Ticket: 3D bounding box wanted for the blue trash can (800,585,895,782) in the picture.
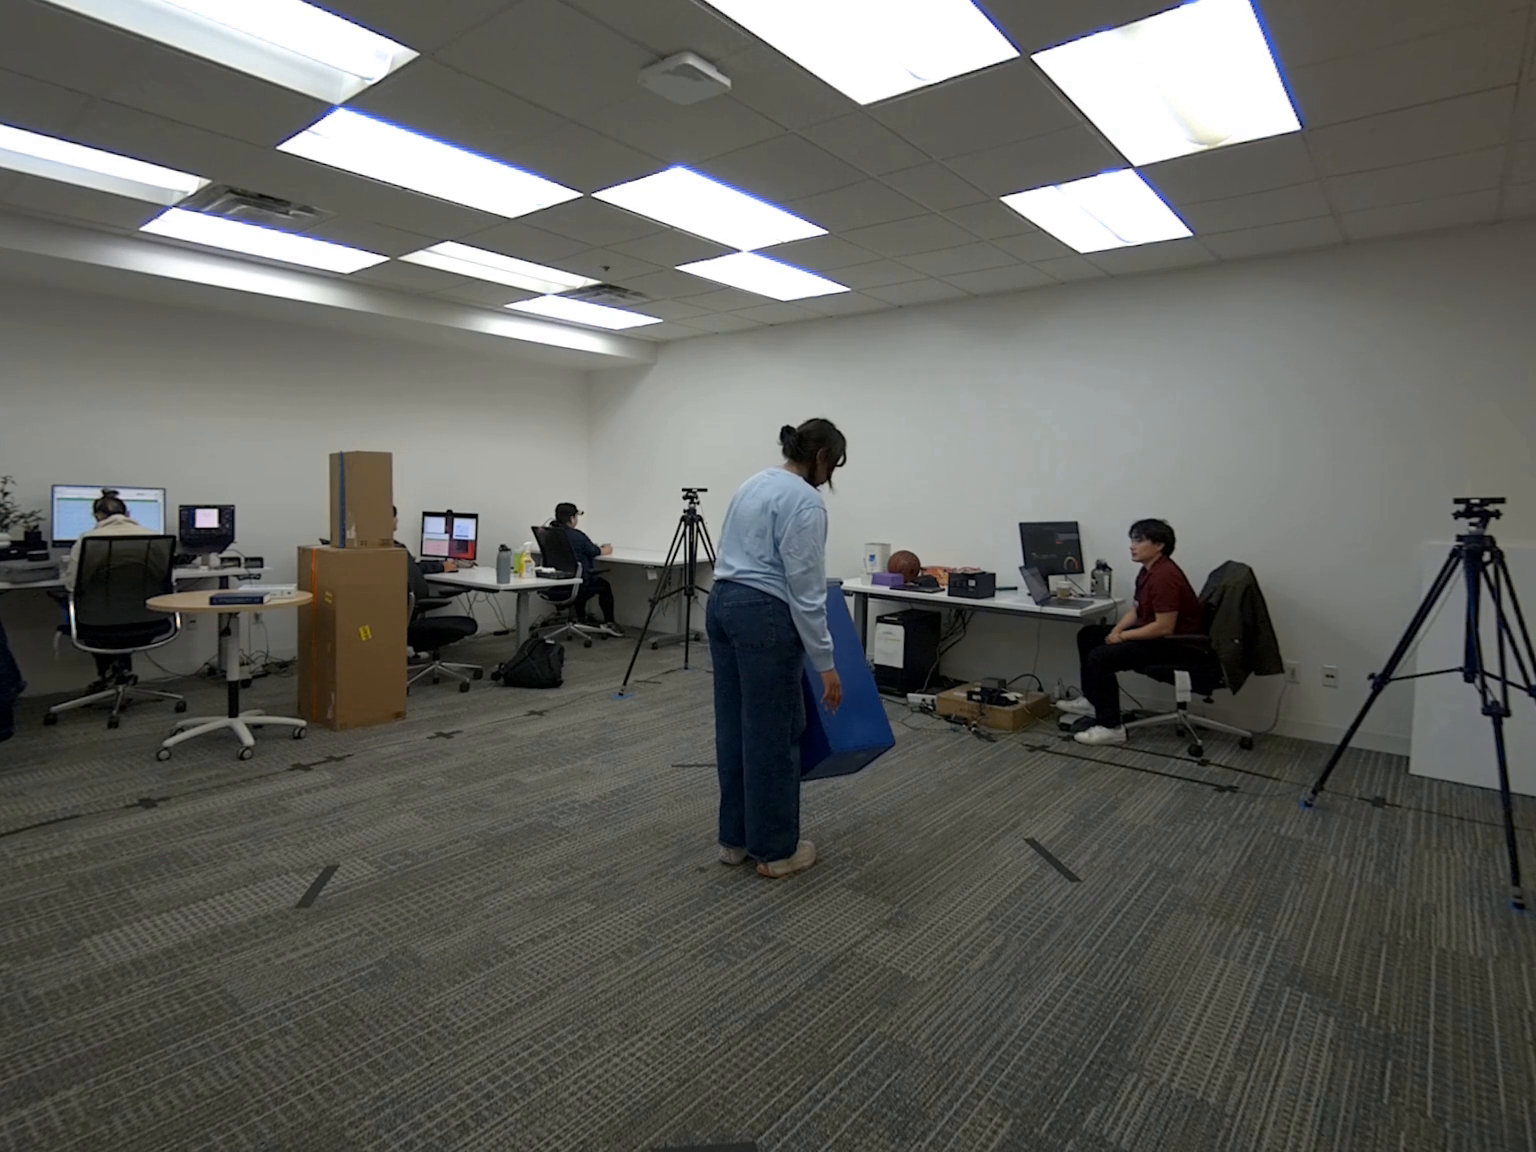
[{"bbox_3d":[0.183,0.395,3.391,0.368,0.737,0.372,-2,-33,-31],"label":"blue trash can"}]
